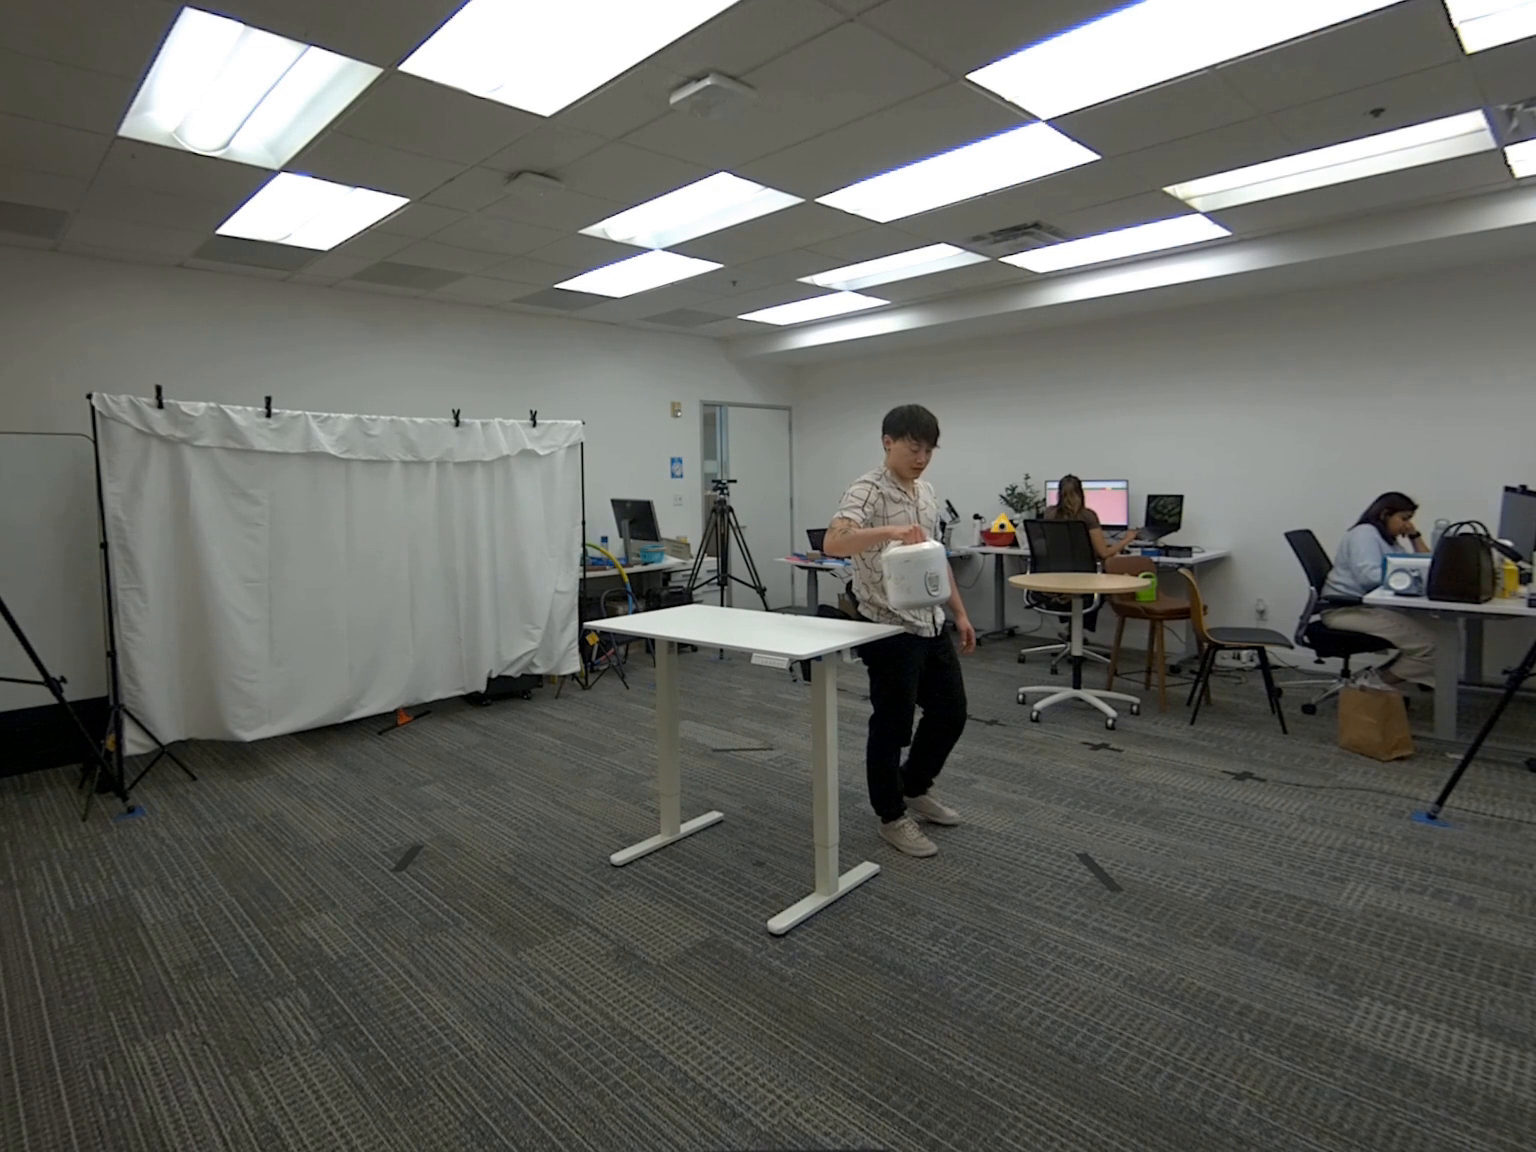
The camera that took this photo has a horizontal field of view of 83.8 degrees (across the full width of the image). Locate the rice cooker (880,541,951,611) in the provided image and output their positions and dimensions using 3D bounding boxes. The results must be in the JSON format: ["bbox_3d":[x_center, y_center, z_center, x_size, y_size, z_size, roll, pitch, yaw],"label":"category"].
[{"bbox_3d":[0.489,-0.017,2.813,0.218,0.232,0.221,-11,3,-18],"label":"rice cooker"}]
